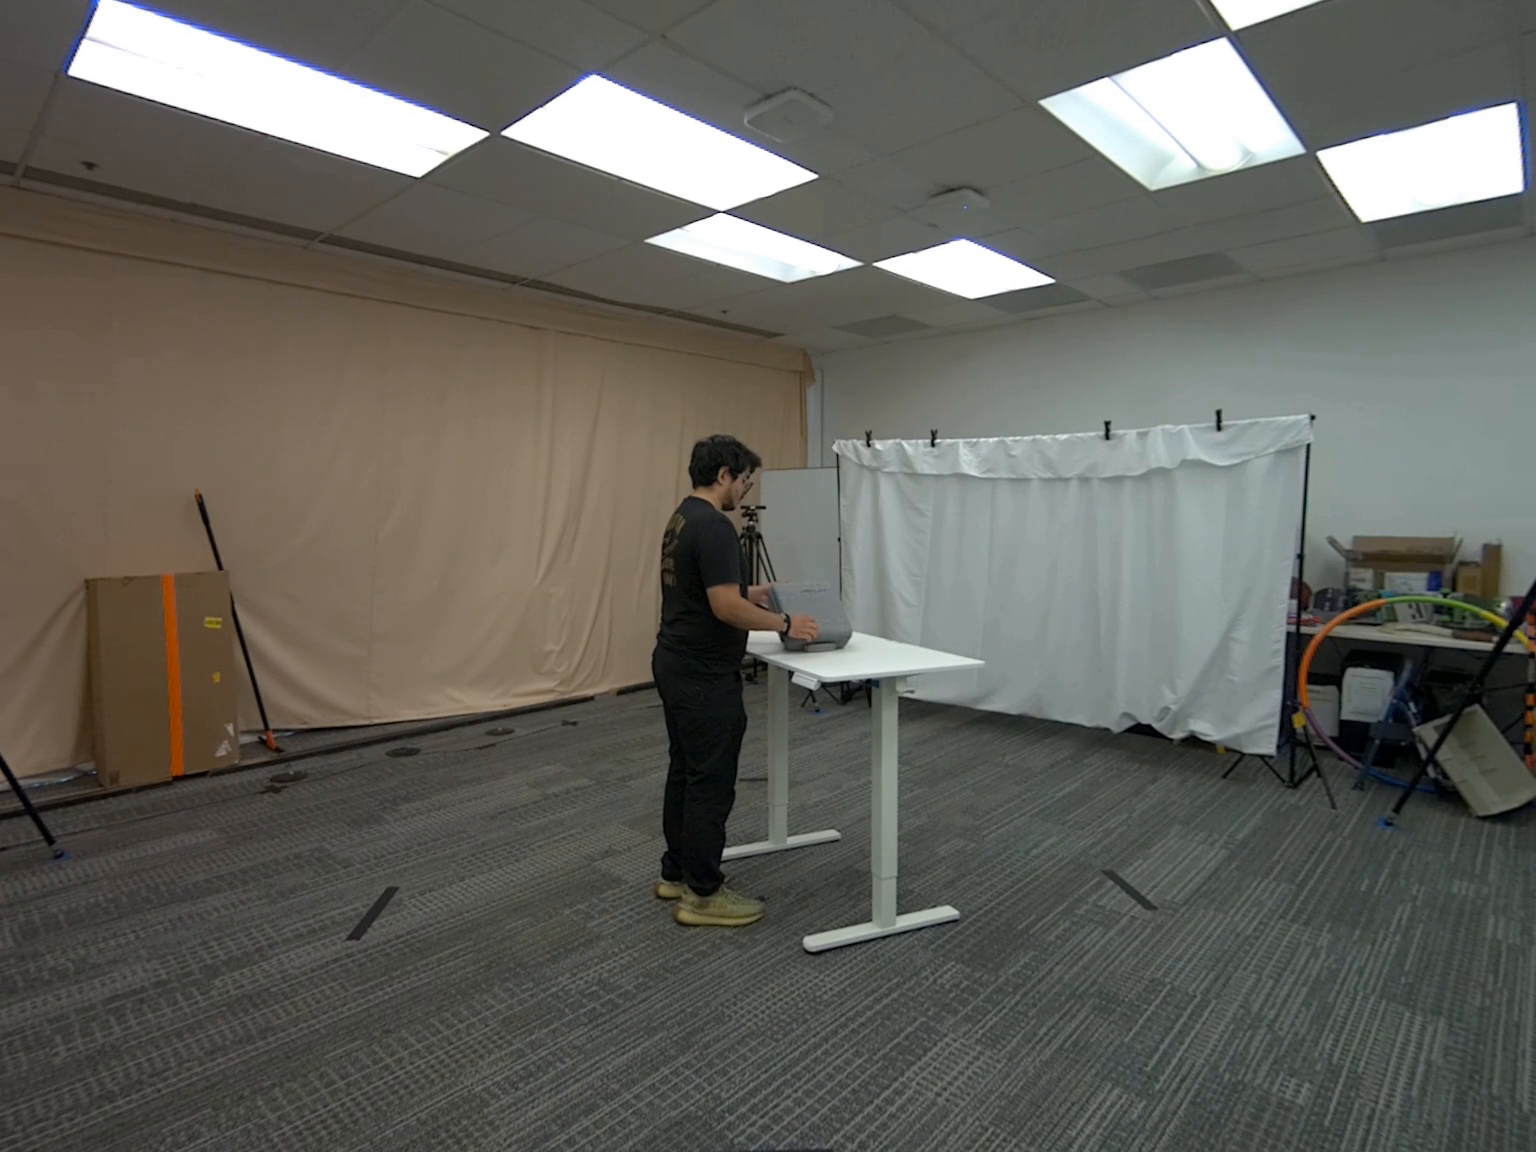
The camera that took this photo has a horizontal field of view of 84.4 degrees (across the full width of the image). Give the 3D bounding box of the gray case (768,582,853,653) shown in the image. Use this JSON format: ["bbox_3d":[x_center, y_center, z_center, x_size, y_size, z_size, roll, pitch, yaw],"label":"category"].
[{"bbox_3d":[0.155,0.136,3.014,0.253,0.267,0.103,-5,-32,-16],"label":"gray case"}]
